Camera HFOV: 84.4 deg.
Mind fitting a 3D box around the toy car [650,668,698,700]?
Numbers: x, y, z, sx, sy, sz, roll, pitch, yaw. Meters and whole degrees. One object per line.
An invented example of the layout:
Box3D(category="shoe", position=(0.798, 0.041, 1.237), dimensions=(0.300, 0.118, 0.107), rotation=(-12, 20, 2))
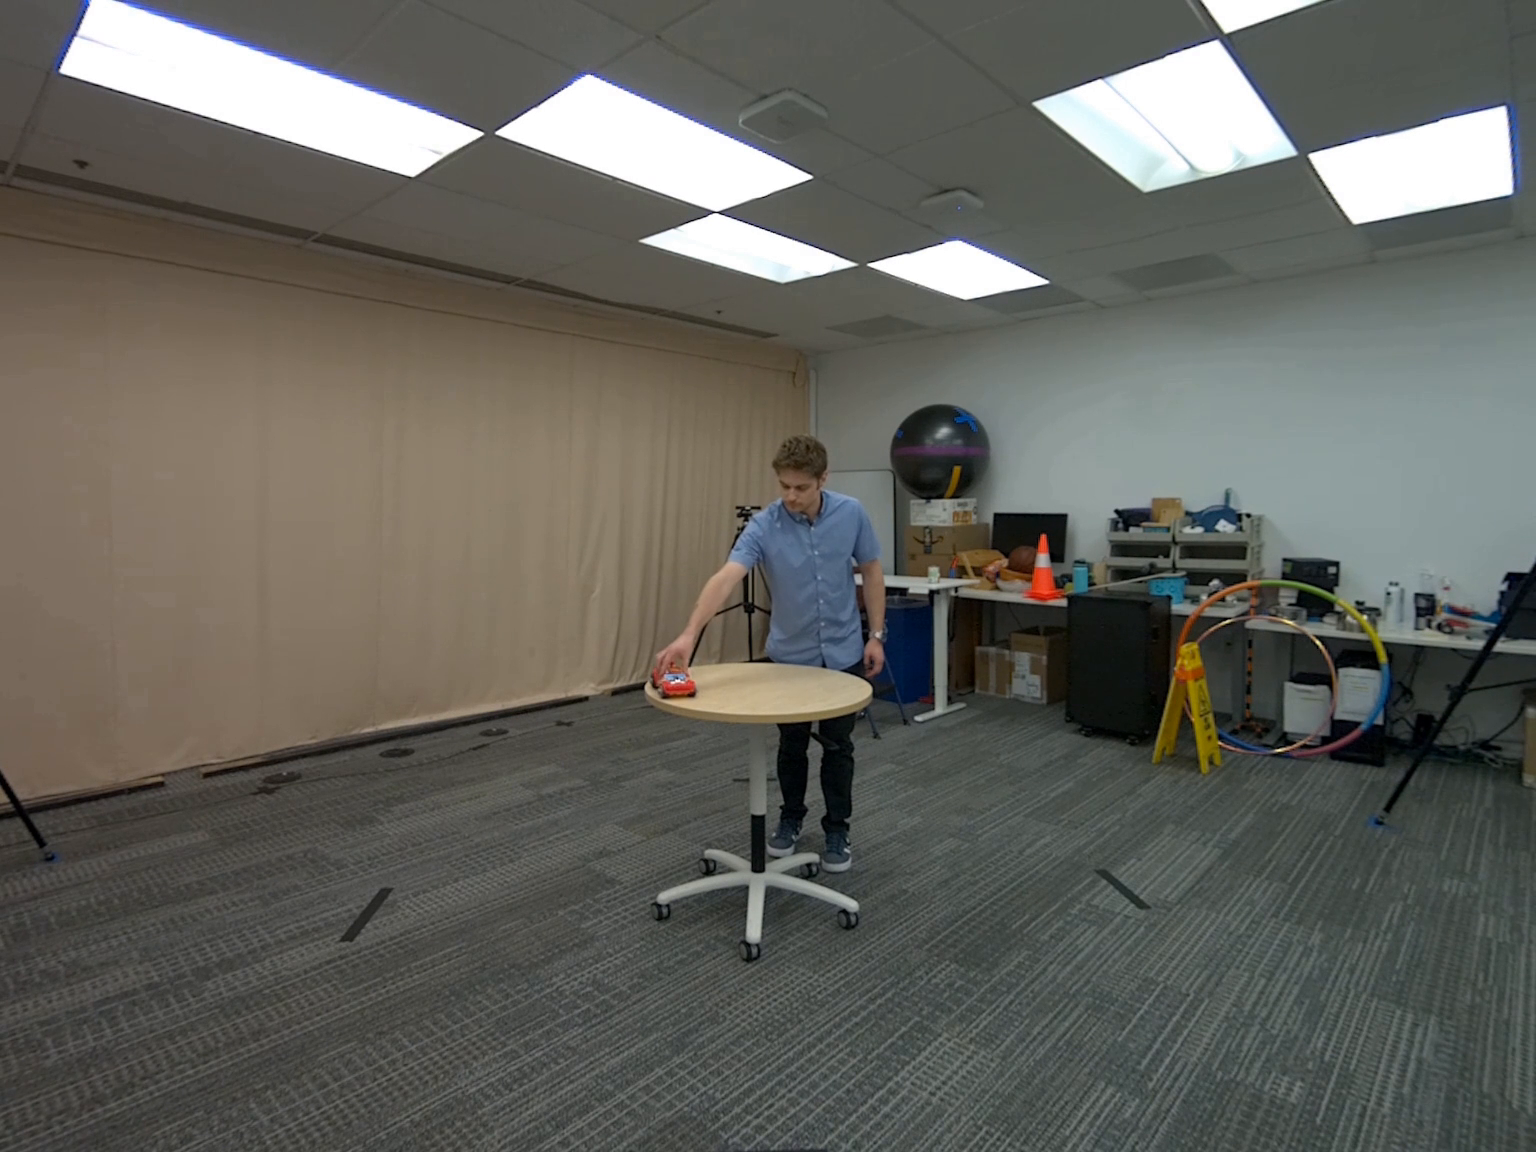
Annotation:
Box3D(category="toy car", position=(-0.316, 0.351, 2.773), dimensions=(0.128, 0.082, 0.261), rotation=(-2, 16, -18))
